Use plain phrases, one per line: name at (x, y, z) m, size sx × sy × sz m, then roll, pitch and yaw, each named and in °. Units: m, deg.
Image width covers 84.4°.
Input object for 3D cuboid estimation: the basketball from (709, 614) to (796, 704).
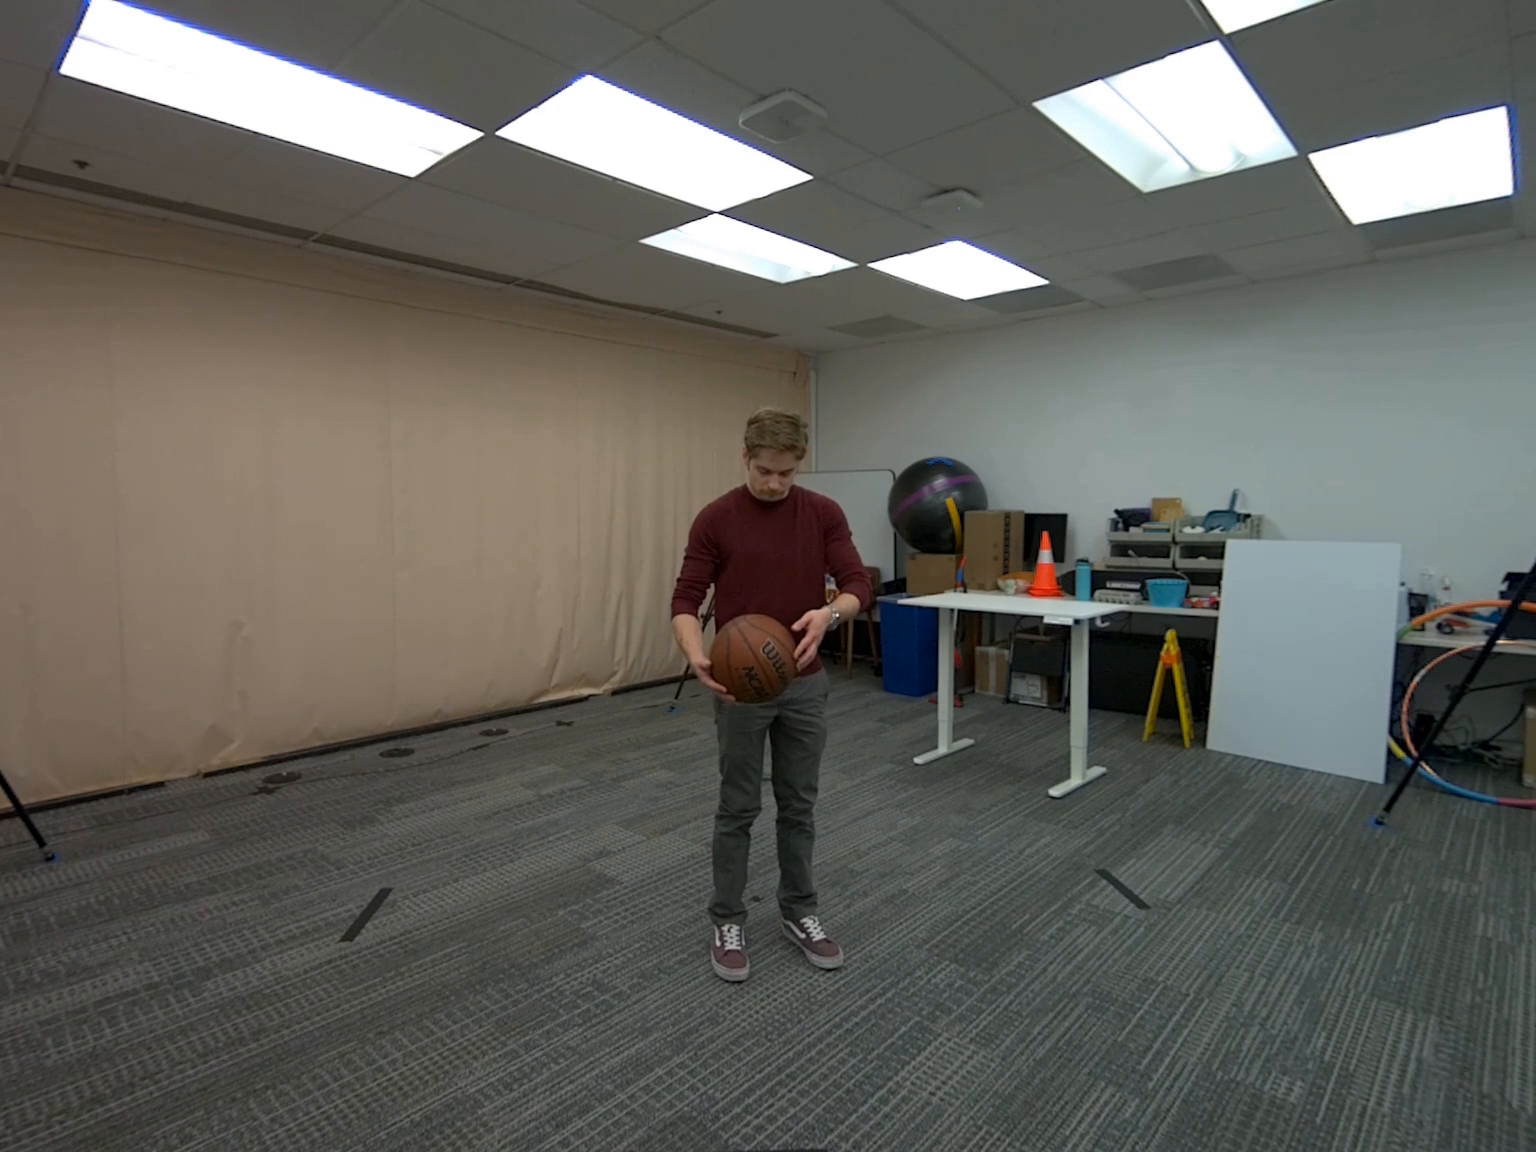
basketball at (-0.037, 0.232, 2.269) m, size 0.236 × 0.235 × 0.237 m, roll 0°, pitch 4°, yaw -2°
